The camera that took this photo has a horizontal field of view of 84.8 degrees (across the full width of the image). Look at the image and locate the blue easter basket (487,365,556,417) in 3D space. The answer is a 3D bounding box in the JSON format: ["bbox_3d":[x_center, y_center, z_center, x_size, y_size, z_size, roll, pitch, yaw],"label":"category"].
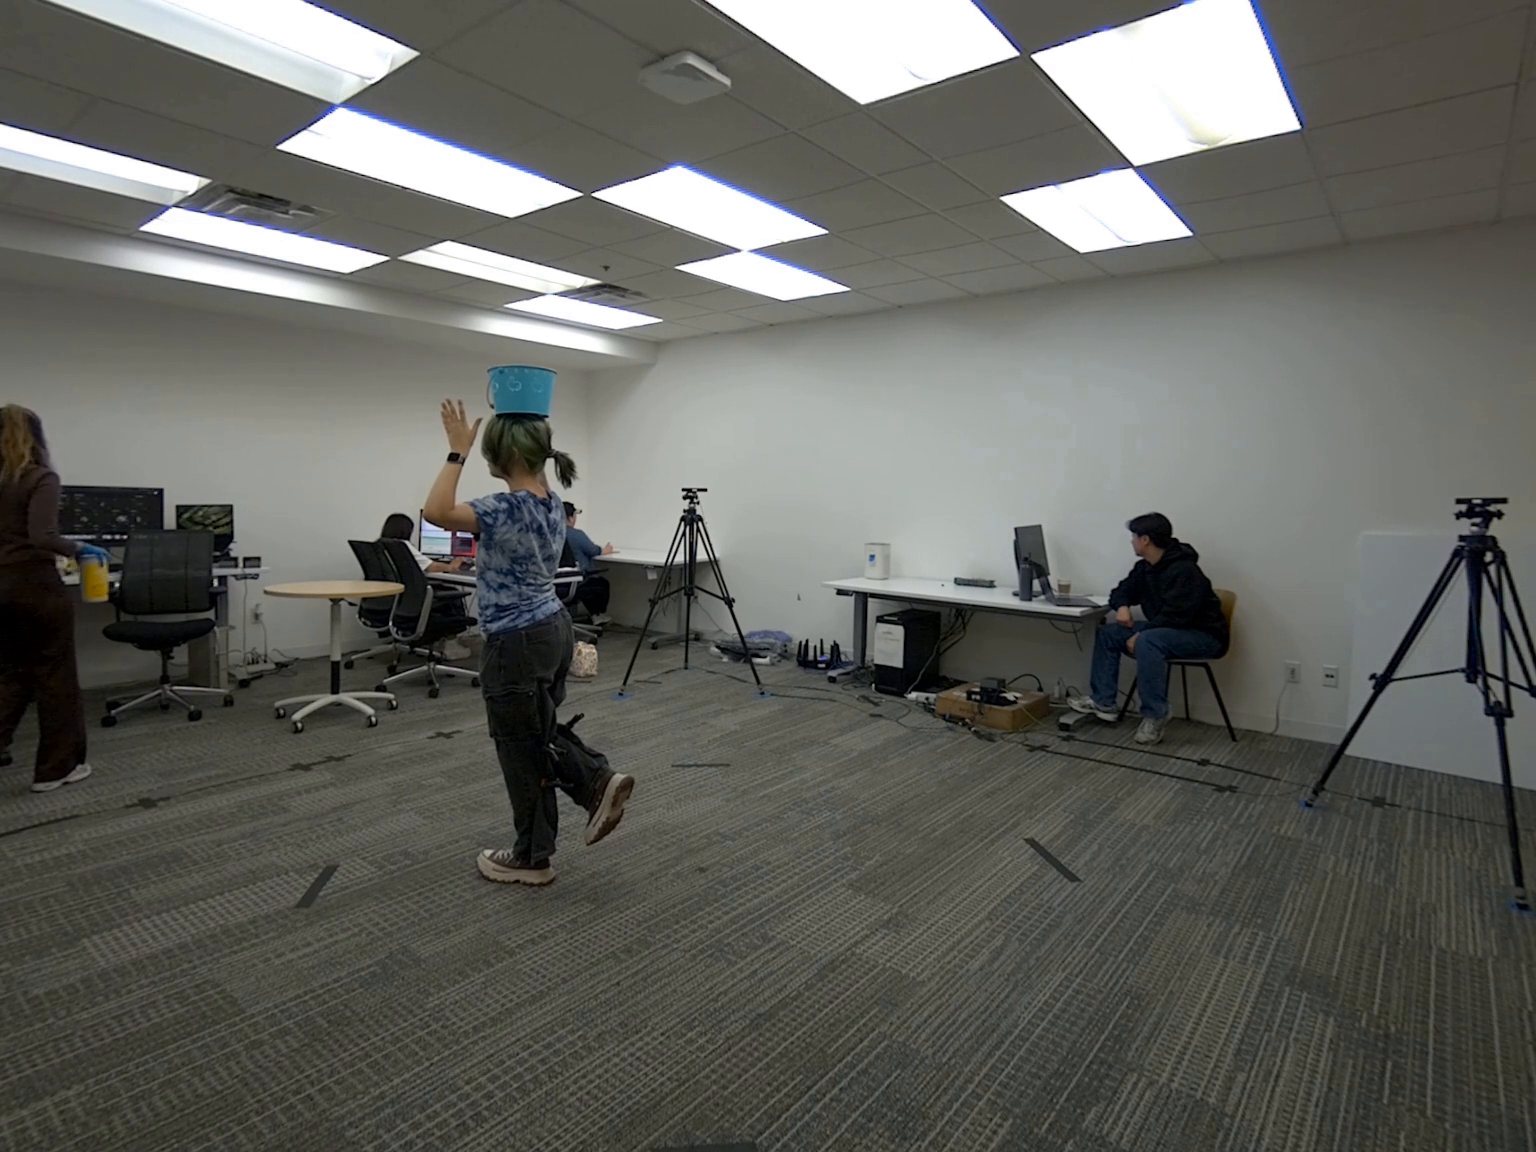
[{"bbox_3d":[-0.851,-0.622,2.900,0.243,0.155,0.244,0,3,-2],"label":"blue easter basket"}]
